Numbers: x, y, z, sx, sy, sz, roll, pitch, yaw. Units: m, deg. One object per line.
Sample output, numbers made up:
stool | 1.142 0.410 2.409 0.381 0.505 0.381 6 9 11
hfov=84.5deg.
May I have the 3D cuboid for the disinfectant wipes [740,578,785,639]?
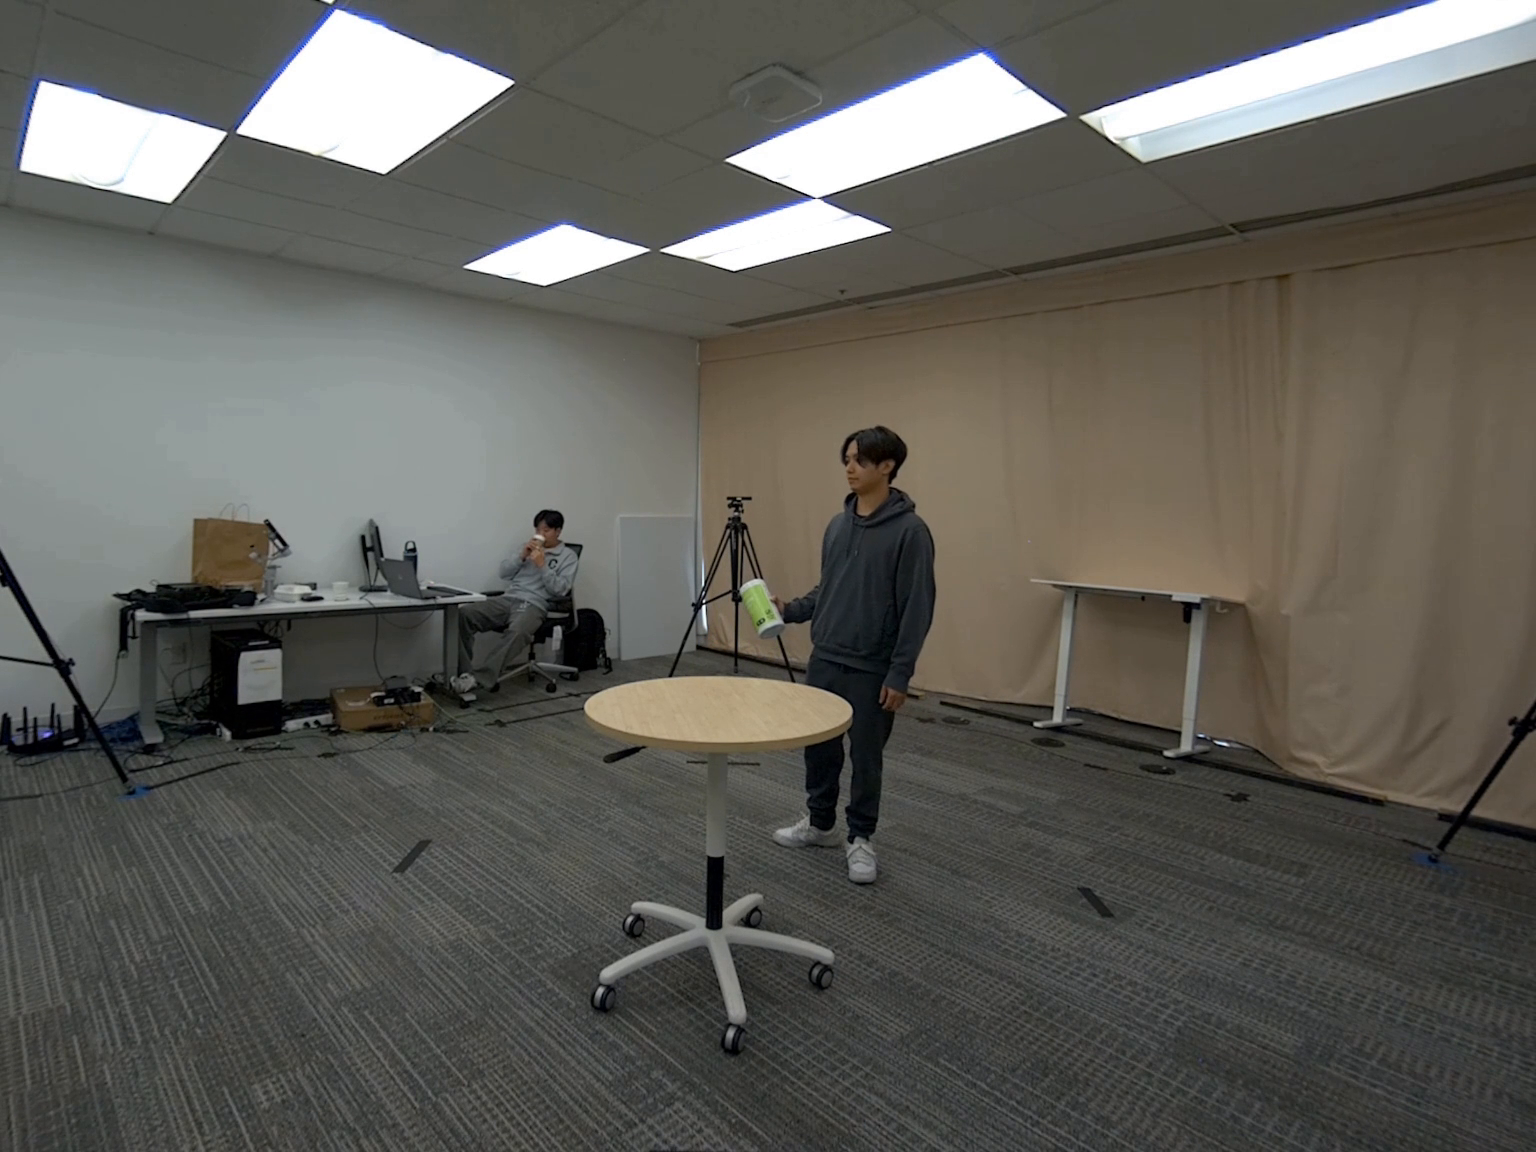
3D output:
disinfectant wipes | -0.028 0.127 3.258 0.117 0.223 0.115 -18 -27 -11
